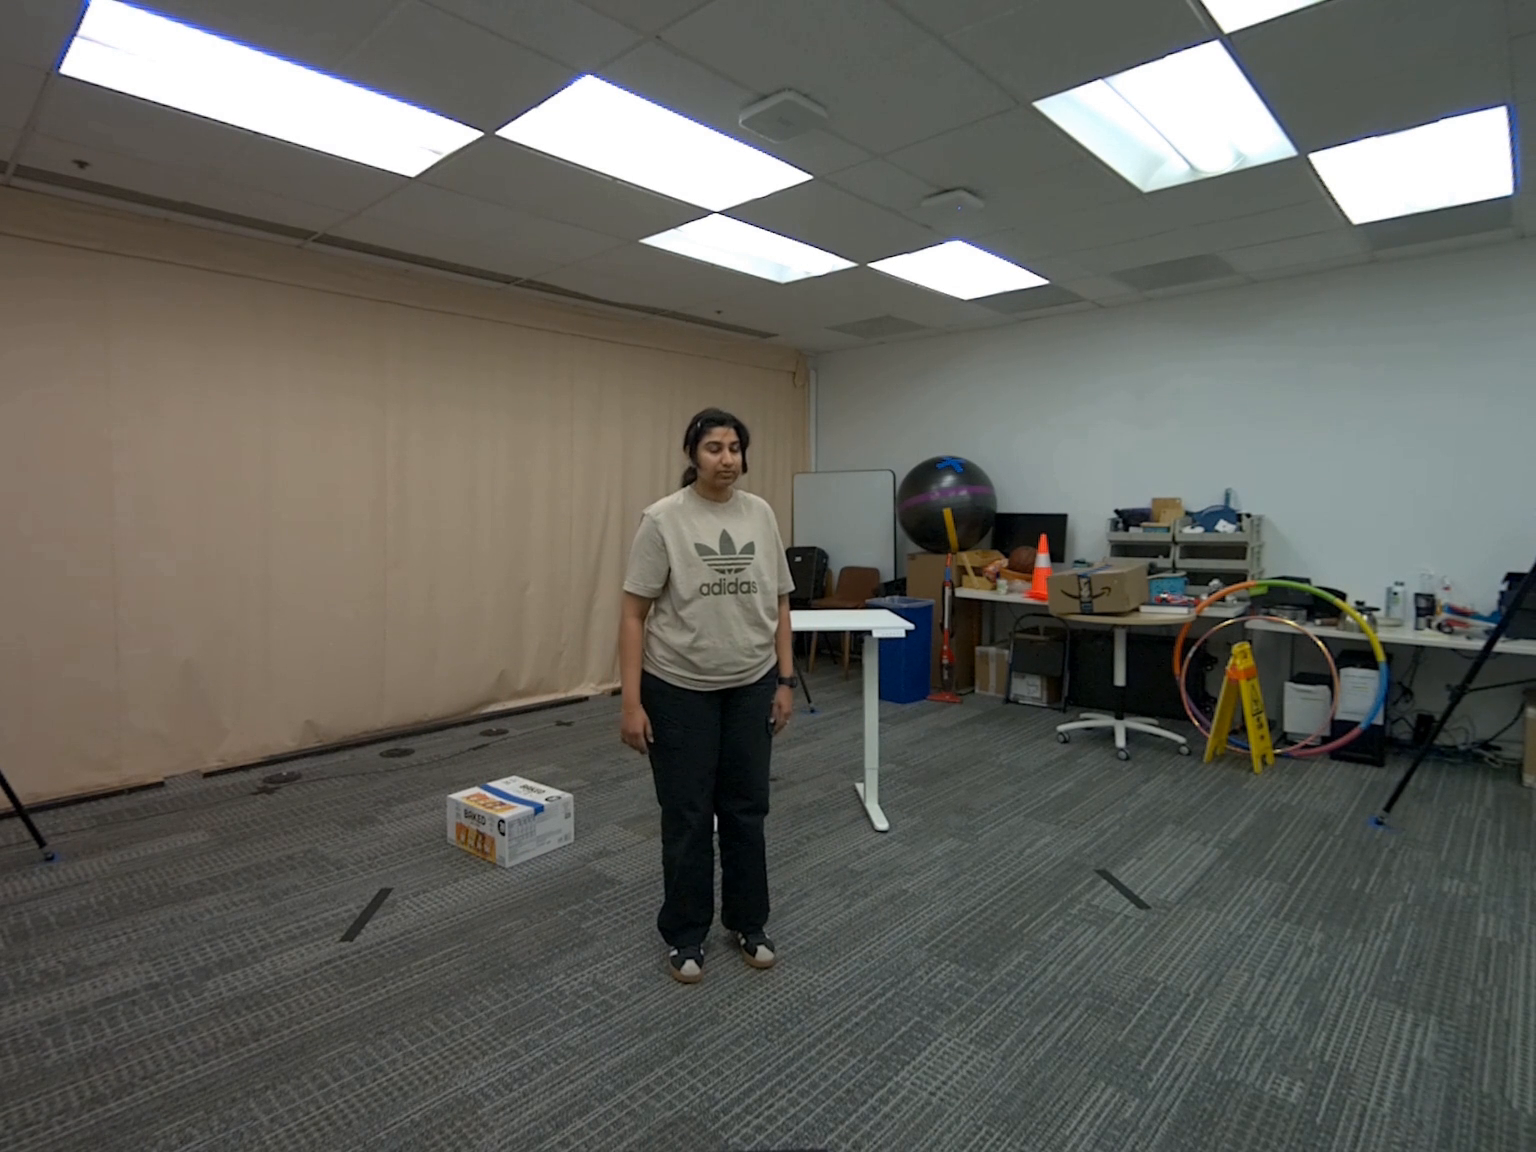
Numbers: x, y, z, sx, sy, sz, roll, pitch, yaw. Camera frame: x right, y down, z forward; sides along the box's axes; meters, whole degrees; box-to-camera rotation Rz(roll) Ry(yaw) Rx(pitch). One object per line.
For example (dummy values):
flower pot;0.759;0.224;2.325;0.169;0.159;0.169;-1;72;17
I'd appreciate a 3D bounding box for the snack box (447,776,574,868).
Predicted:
snack box;-1.071;1.012;3.493;0.418;0.205;0.330;3;6;38
